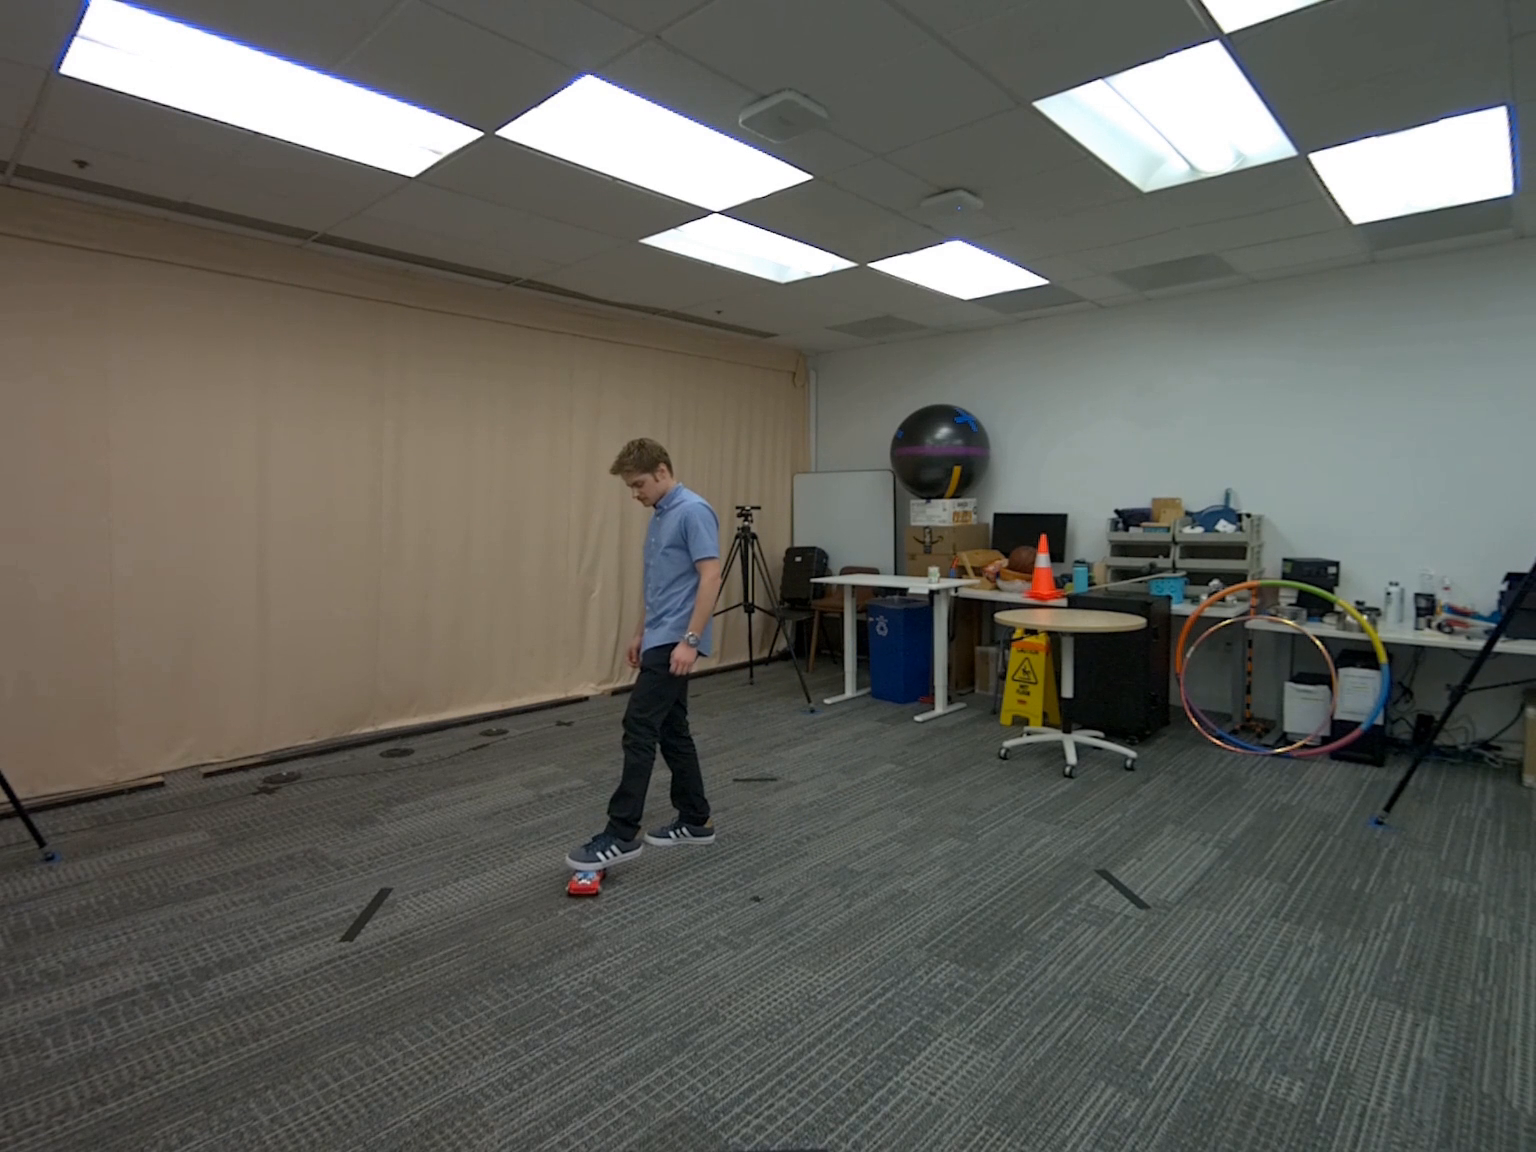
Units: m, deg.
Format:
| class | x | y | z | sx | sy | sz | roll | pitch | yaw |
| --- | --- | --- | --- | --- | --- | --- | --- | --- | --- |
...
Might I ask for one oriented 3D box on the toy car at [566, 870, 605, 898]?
| class | x | y | z | sx | sy | sz | roll | pitch | yaw |
| --- | --- | --- | --- | --- | --- | --- | --- | --- | --- |
| toy car | -0.668 | 1.111 | 3.108 | 0.130 | 0.082 | 0.257 | -1 | 15 | -3 |
